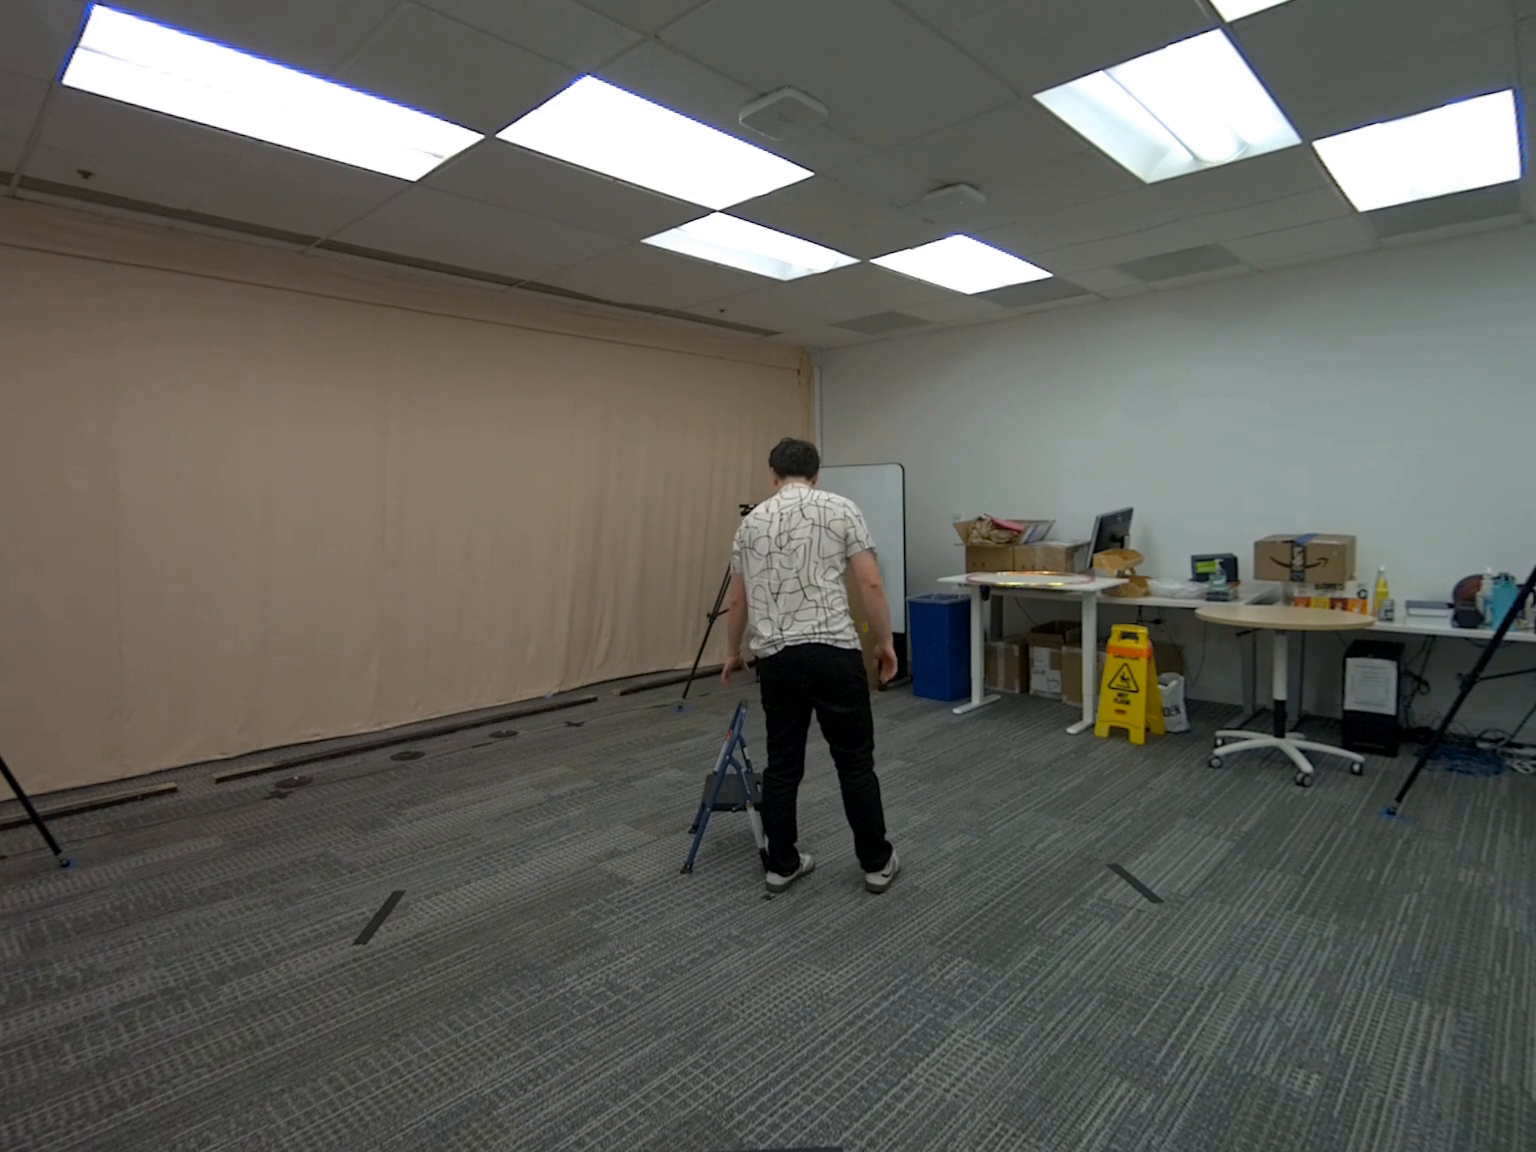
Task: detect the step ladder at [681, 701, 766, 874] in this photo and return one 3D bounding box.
[{"bbox_3d":[-0.162,0.808,3.380,0.350,0.605,0.431,-1,3,0],"label":"step ladder"}]
